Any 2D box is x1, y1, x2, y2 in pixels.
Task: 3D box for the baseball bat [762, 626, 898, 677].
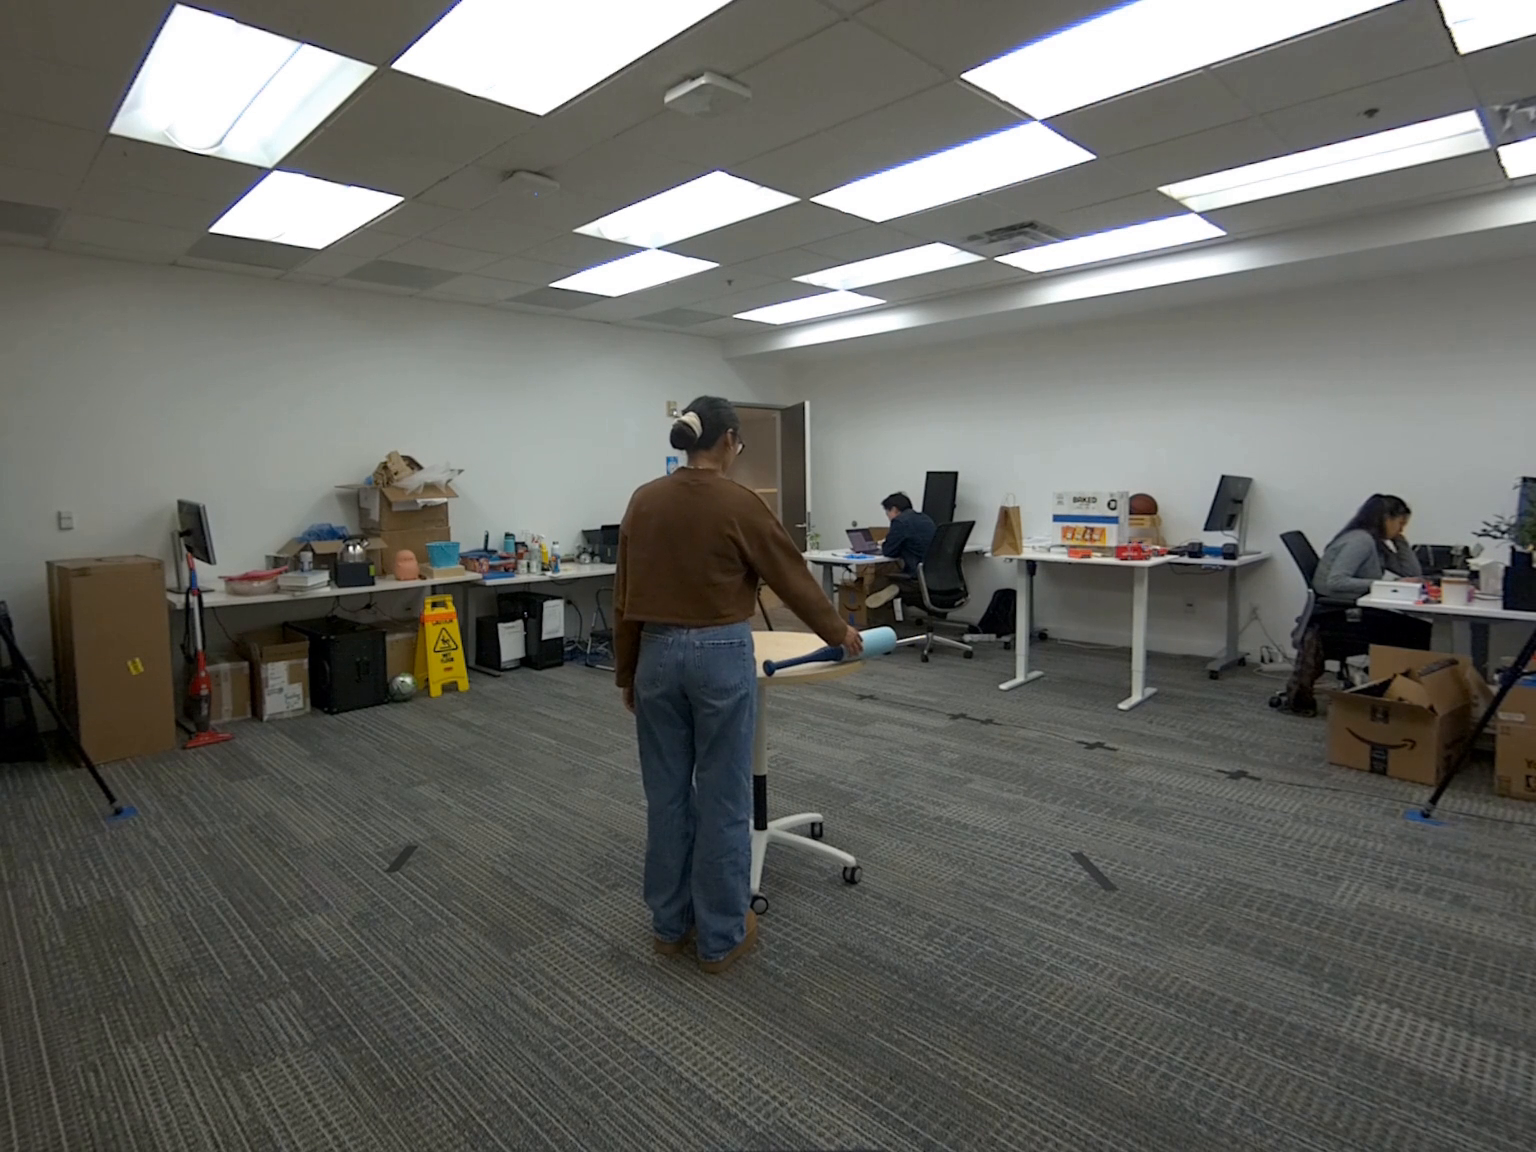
[{"bbox_3d":[0.214,0.257,2.812,0.531,0.088,0.092,-10,9,-34],"label":"baseball bat"}]
